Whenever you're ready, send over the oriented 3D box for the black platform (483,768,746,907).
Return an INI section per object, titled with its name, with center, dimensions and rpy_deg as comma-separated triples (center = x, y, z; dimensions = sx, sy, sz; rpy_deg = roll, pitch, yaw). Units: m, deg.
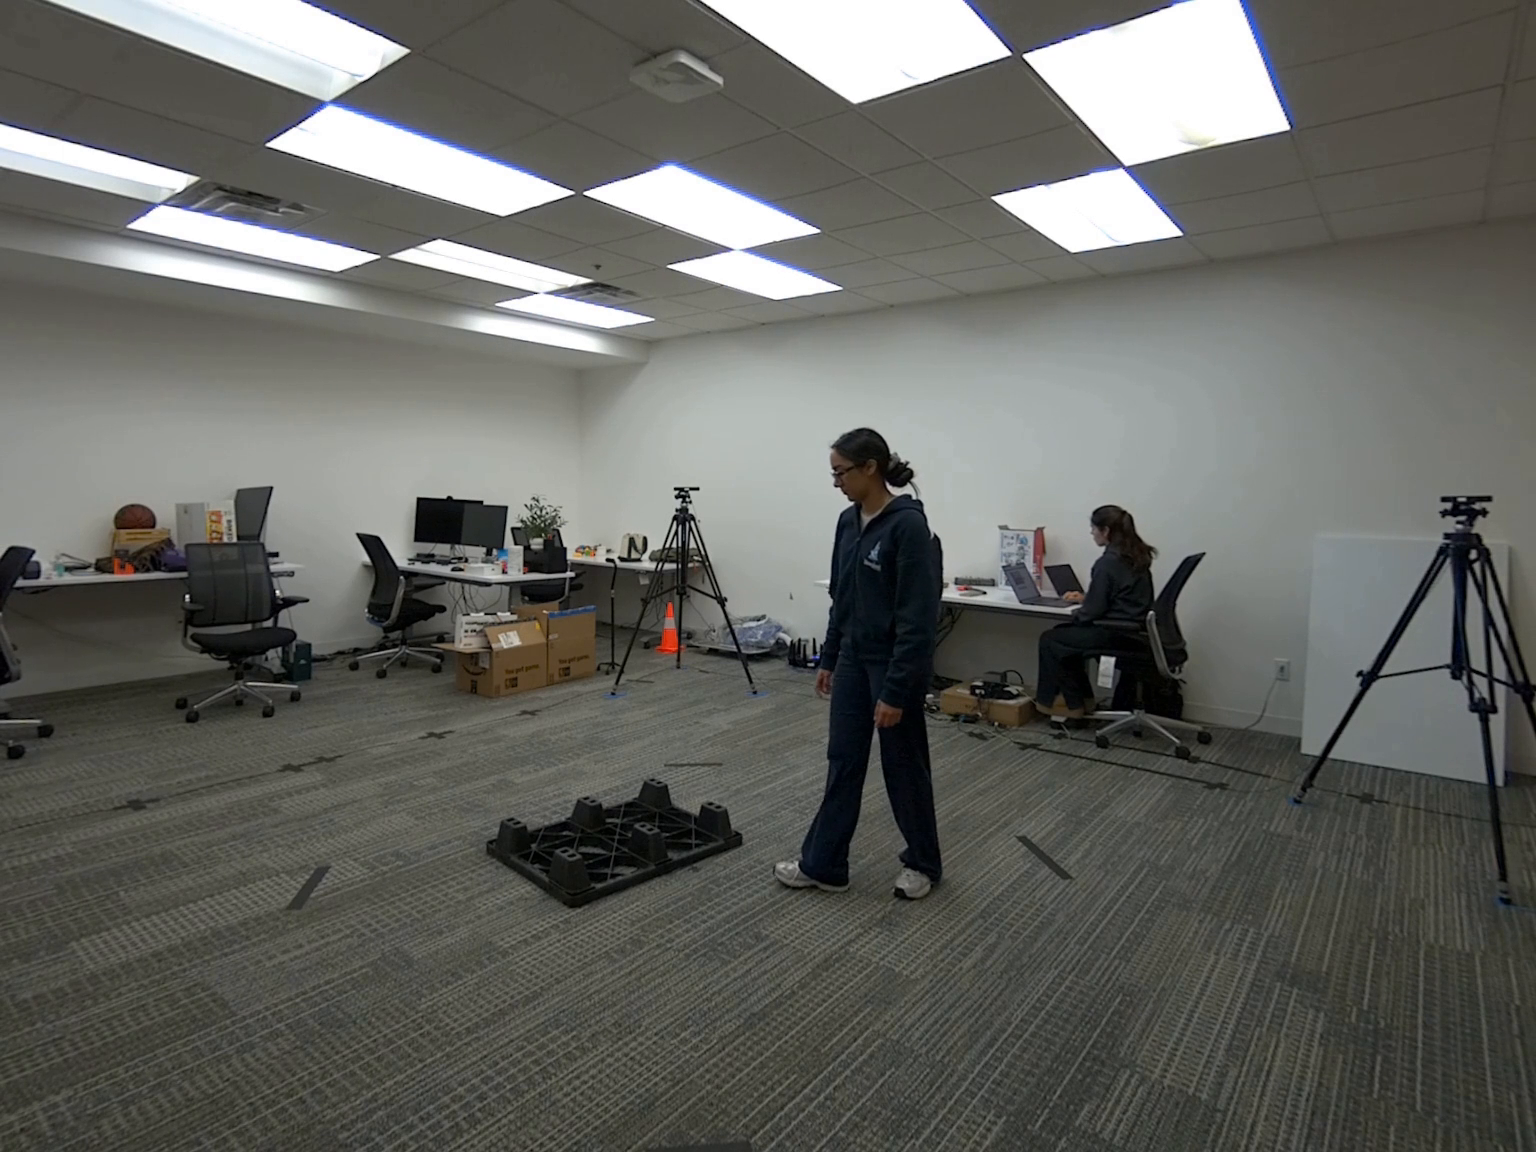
[black platform]
center = -0.588, 0.973, 3.262
dimensions = 0.626, 0.143, 0.781
rpy_deg = 5, 7, 45
